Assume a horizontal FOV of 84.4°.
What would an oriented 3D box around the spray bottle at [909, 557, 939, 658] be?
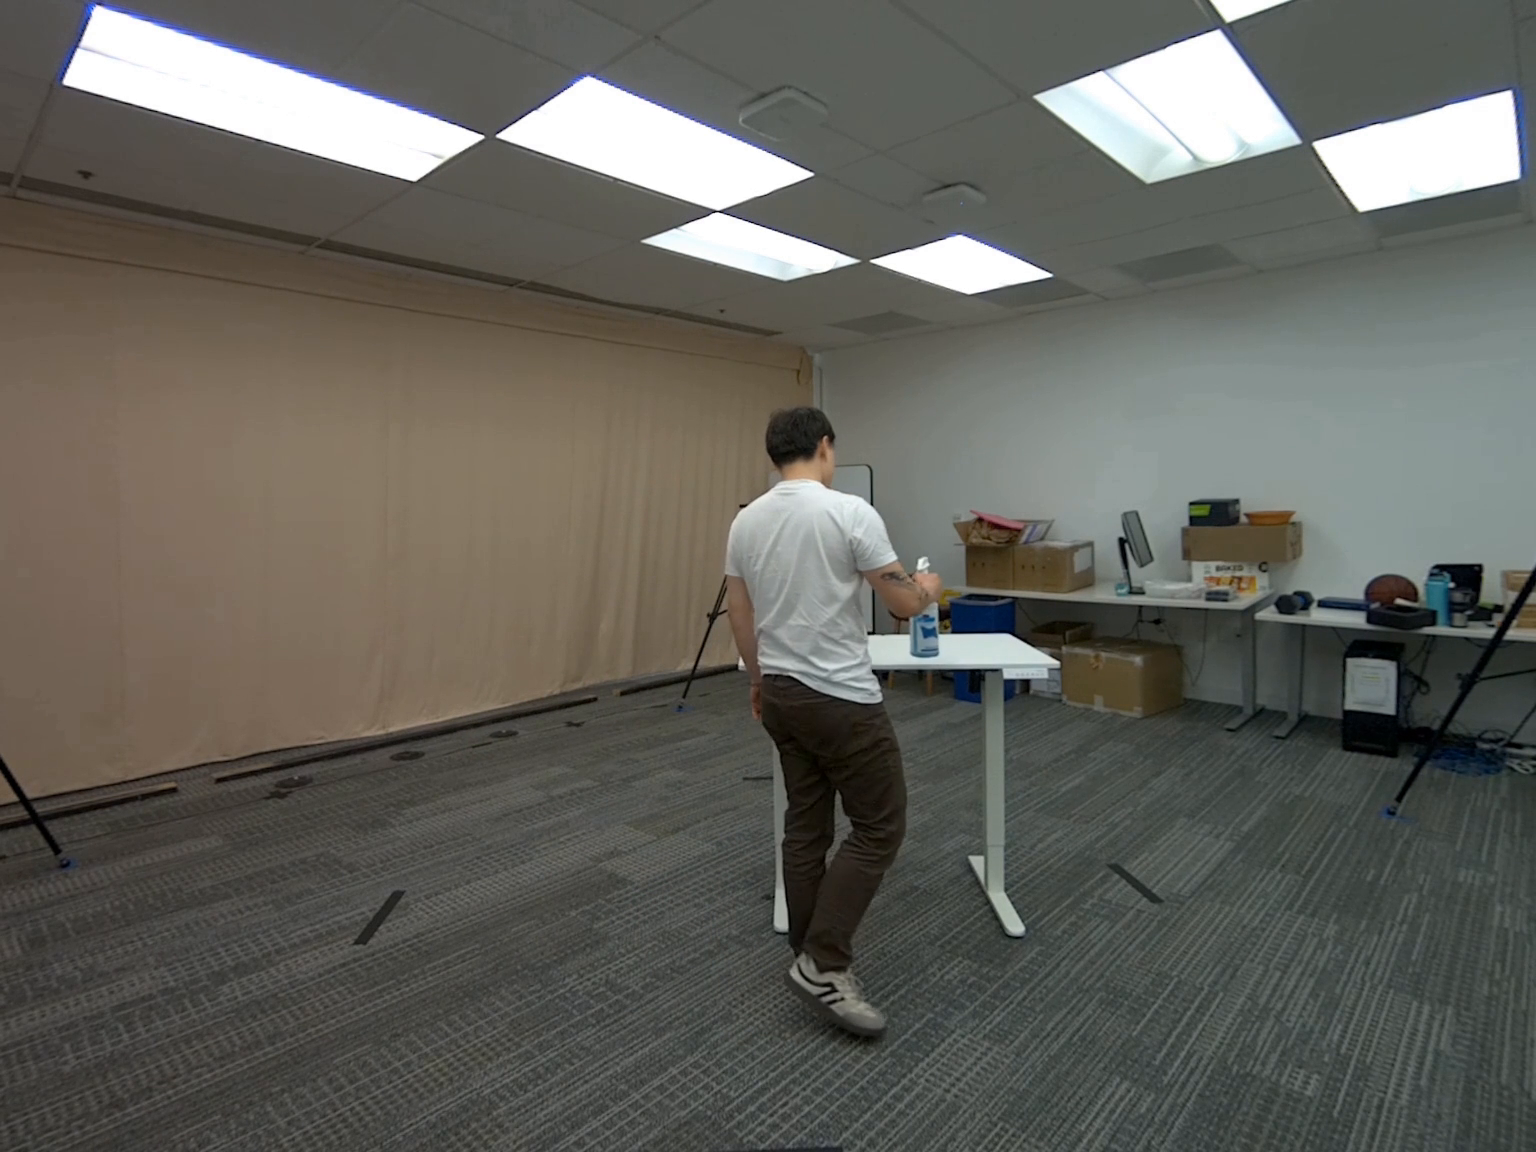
[{"bbox_3d":[0.462,0.100,2.542,0.087,0.297,0.090,-4,3,-42],"label":"spray bottle"}]
